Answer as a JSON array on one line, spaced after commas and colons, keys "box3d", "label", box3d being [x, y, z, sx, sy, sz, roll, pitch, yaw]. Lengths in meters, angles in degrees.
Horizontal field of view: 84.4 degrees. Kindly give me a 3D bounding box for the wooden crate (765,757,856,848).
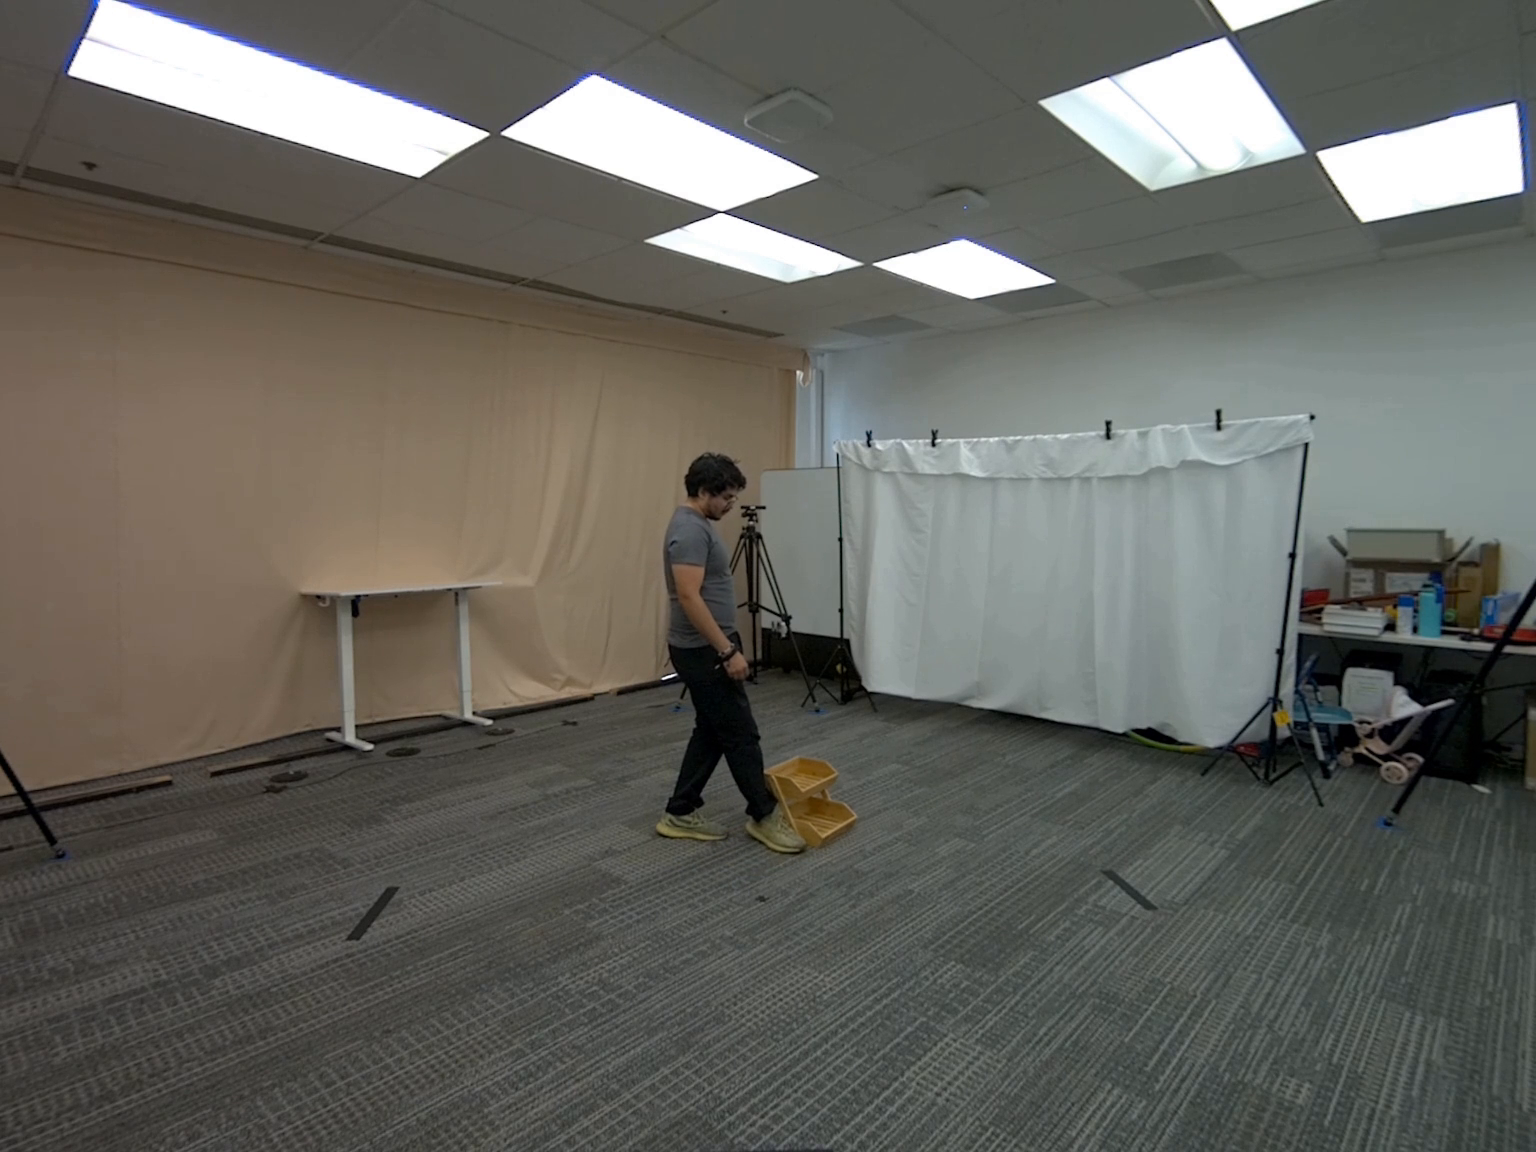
[{"box3d": [0.181, 0.958, 3.607, 0.311, 0.273, 0.315, 2, 4, 36], "label": "wooden crate"}]
